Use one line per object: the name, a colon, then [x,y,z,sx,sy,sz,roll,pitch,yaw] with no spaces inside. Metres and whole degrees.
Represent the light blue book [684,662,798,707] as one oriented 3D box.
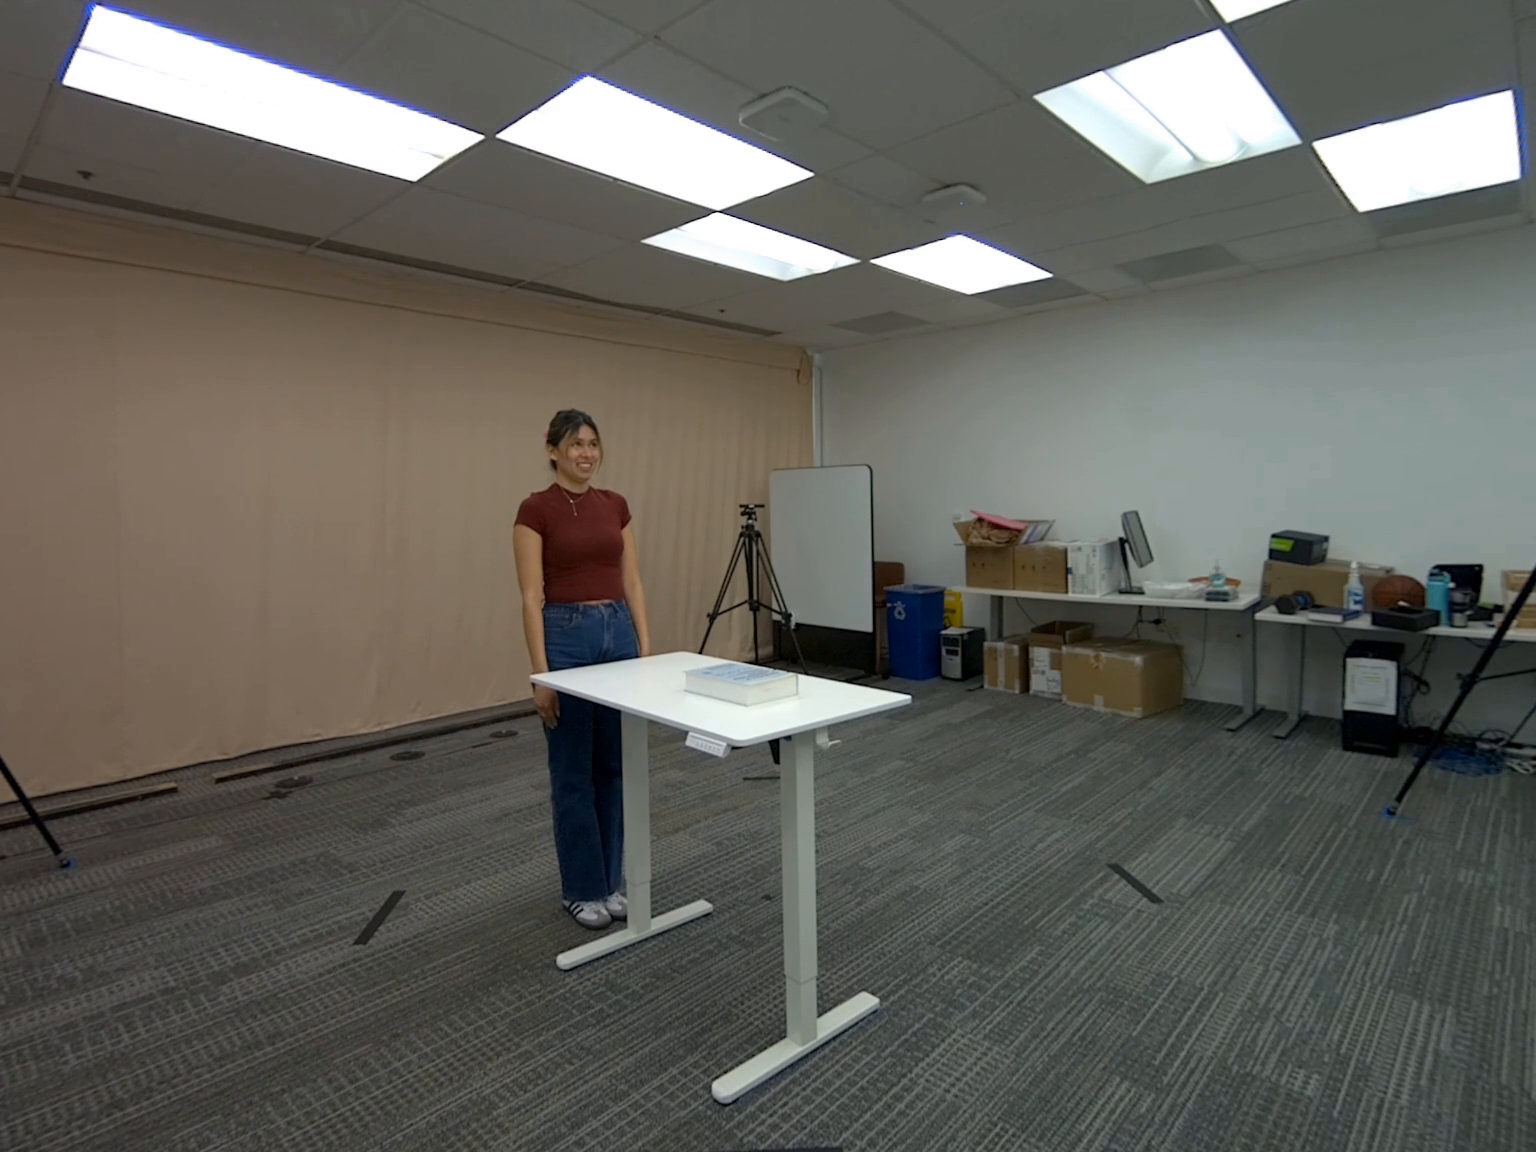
light blue book: [-0.076,0.294,2.276,0.185,0.059,0.270,-5,6,-43]
